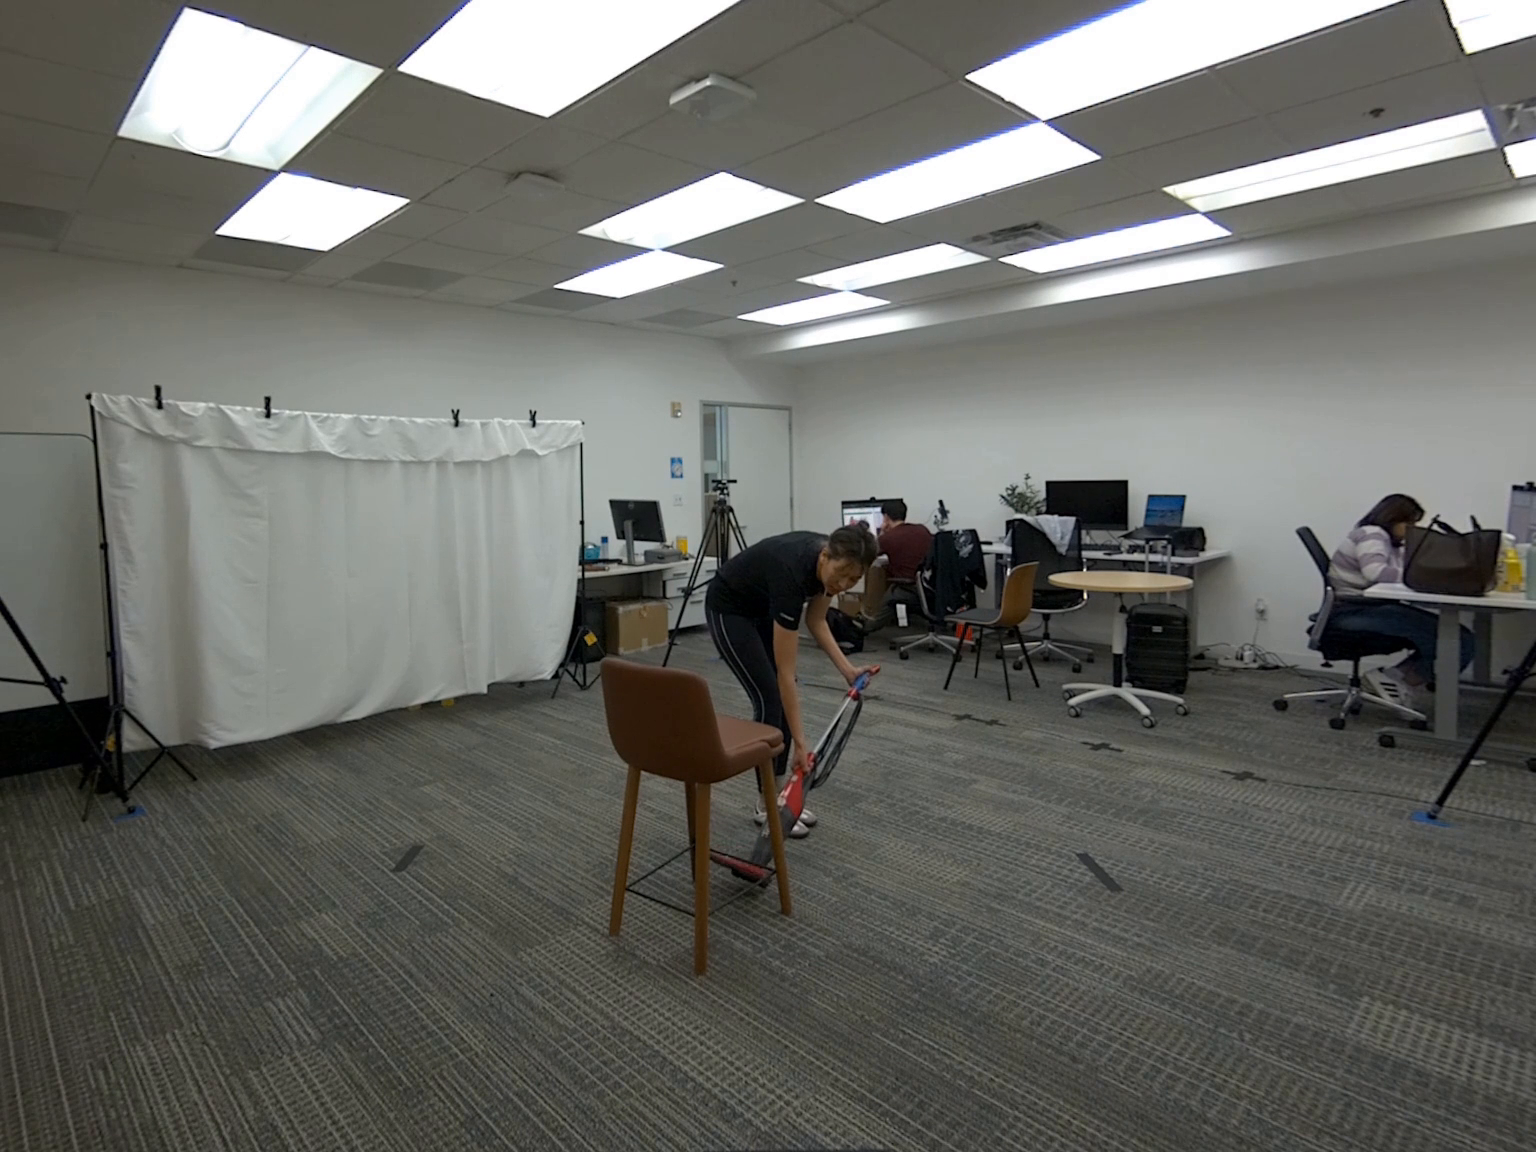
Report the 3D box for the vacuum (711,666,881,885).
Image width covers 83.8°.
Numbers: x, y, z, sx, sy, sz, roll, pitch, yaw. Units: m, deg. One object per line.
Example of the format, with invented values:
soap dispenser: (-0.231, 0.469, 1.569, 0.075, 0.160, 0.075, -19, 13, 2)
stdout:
vacuum: (0.195, 0.700, 3.185, 0.260, 0.140, 1.048, 5, 39, 39)
